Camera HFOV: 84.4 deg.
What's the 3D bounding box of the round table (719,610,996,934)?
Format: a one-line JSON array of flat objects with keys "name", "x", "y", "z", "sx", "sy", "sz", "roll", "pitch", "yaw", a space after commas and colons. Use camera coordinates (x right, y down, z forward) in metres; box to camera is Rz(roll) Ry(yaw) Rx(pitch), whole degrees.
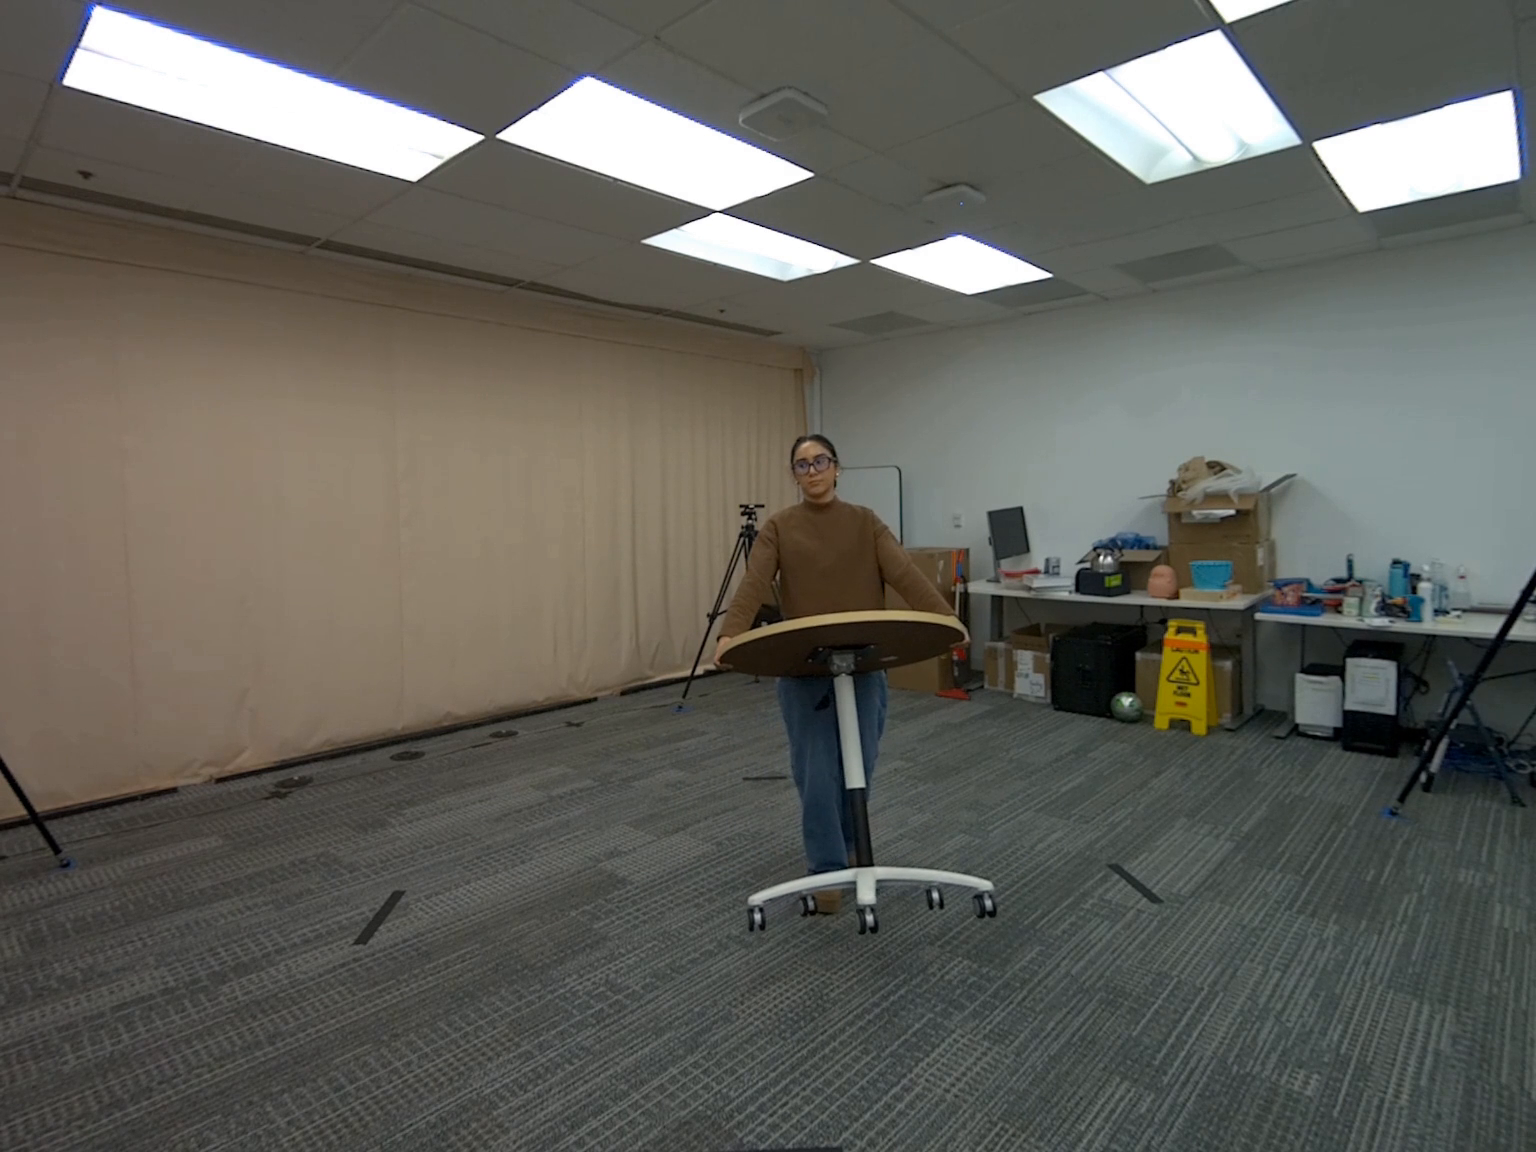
[{"name": "round table", "x": 0.270, "y": 0.591, "z": 2.511, "sx": 0.783, "sy": 0.797, "sz": 0.777, "roll": -4, "pitch": -18, "yaw": -3}]
